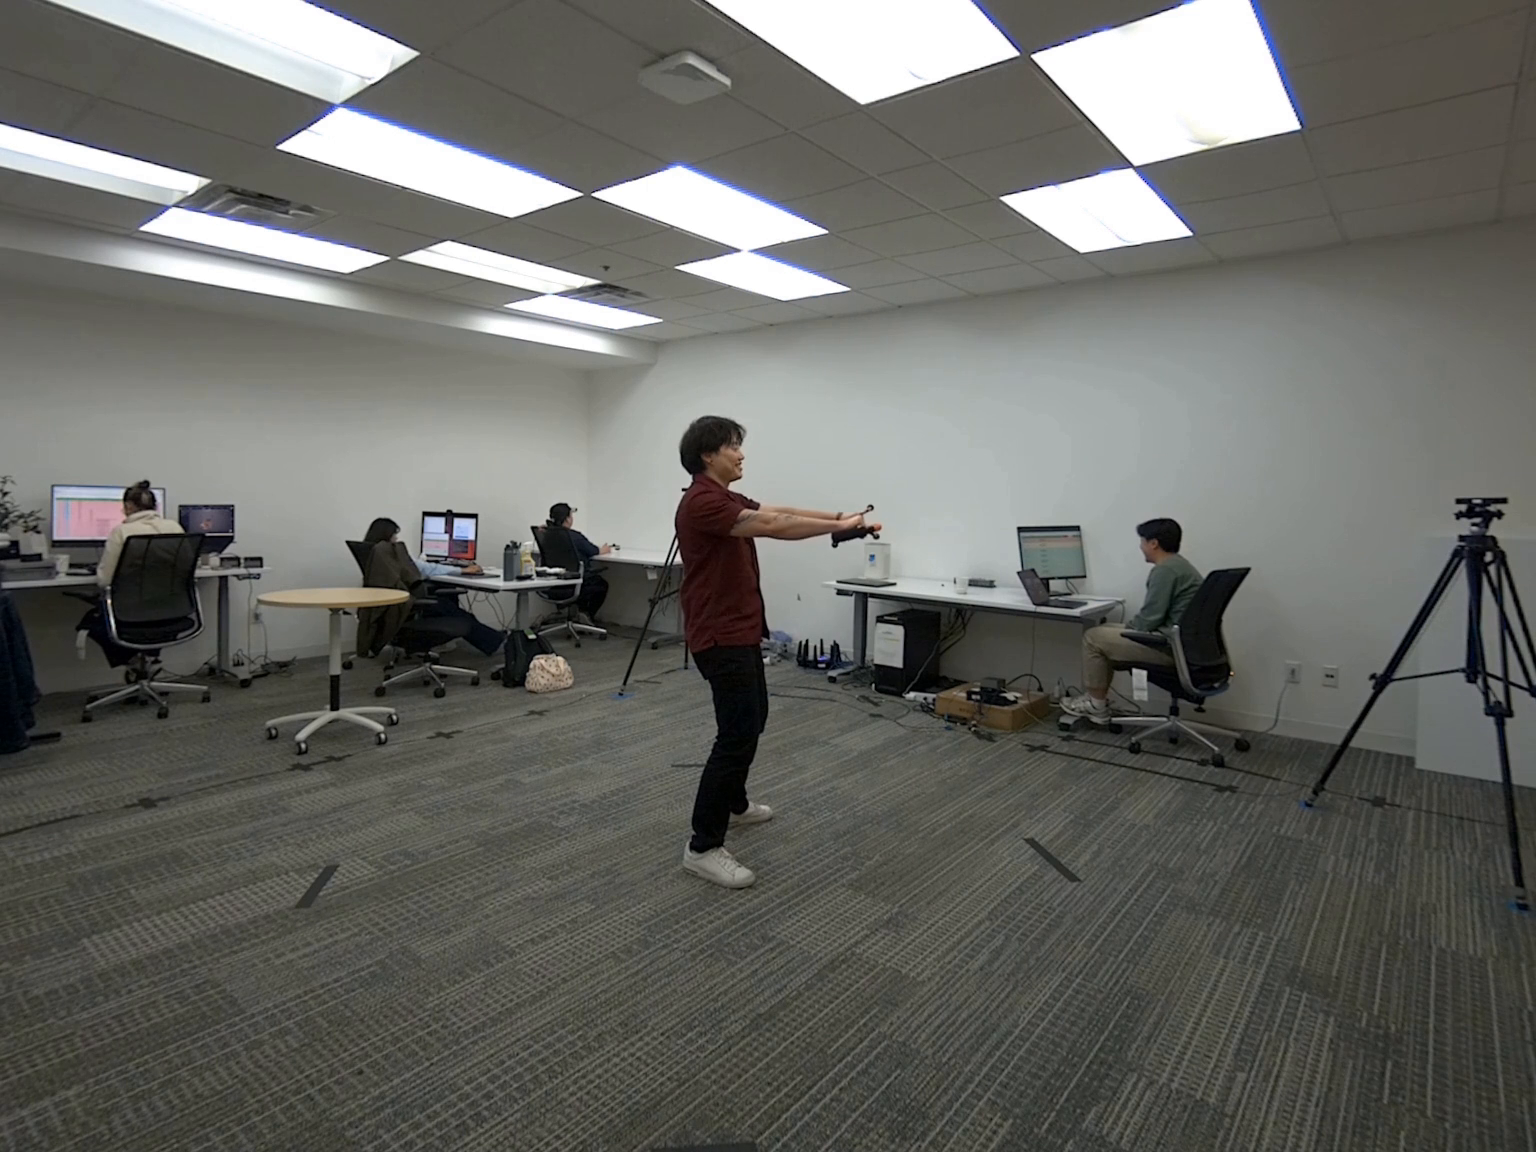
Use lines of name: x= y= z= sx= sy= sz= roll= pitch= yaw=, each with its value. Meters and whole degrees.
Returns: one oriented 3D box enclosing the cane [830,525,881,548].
cane: x=0.334 y=-0.165 z=3.136 sx=0.207 sy=0.151 sz=0.905 roll=-13 pitch=4 yaw=4
